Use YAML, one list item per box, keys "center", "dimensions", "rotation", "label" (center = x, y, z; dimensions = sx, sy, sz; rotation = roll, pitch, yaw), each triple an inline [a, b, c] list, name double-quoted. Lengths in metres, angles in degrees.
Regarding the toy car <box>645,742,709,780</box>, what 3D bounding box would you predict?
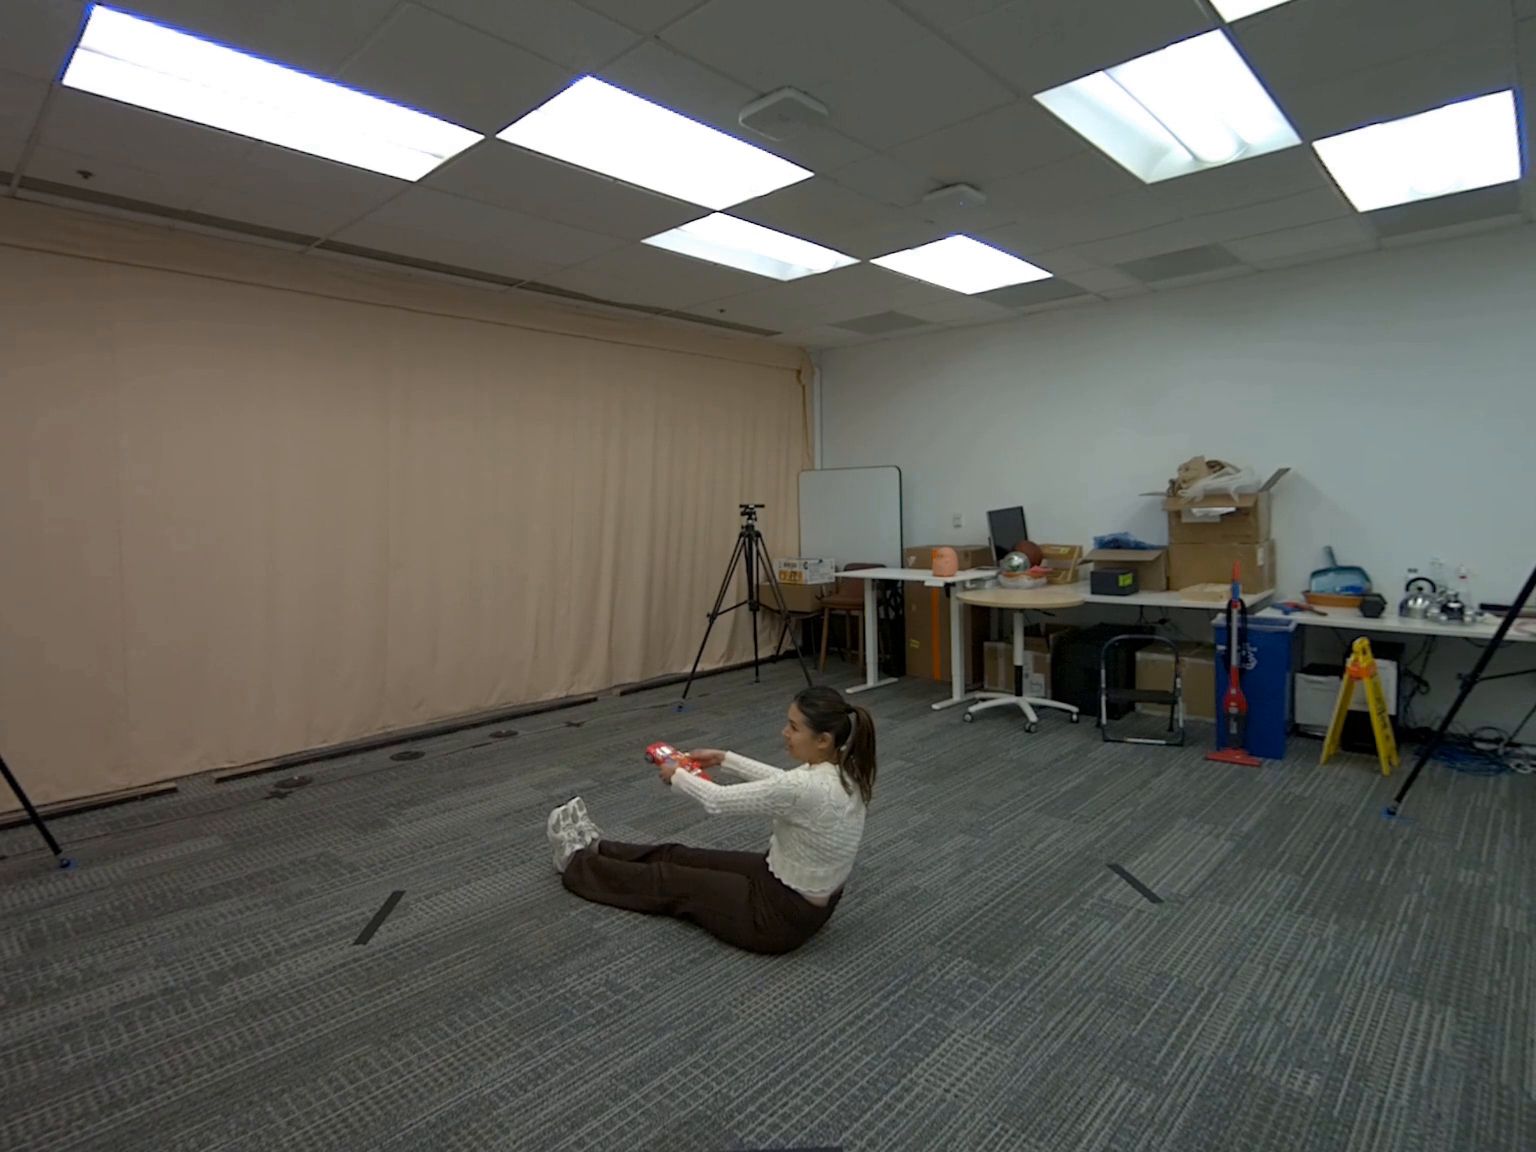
- center: [-0.308, 0.686, 3.009]
  dimensions: [0.263, 0.083, 0.126]
  rotation: [19, 14, 32]
  label: "toy car"
